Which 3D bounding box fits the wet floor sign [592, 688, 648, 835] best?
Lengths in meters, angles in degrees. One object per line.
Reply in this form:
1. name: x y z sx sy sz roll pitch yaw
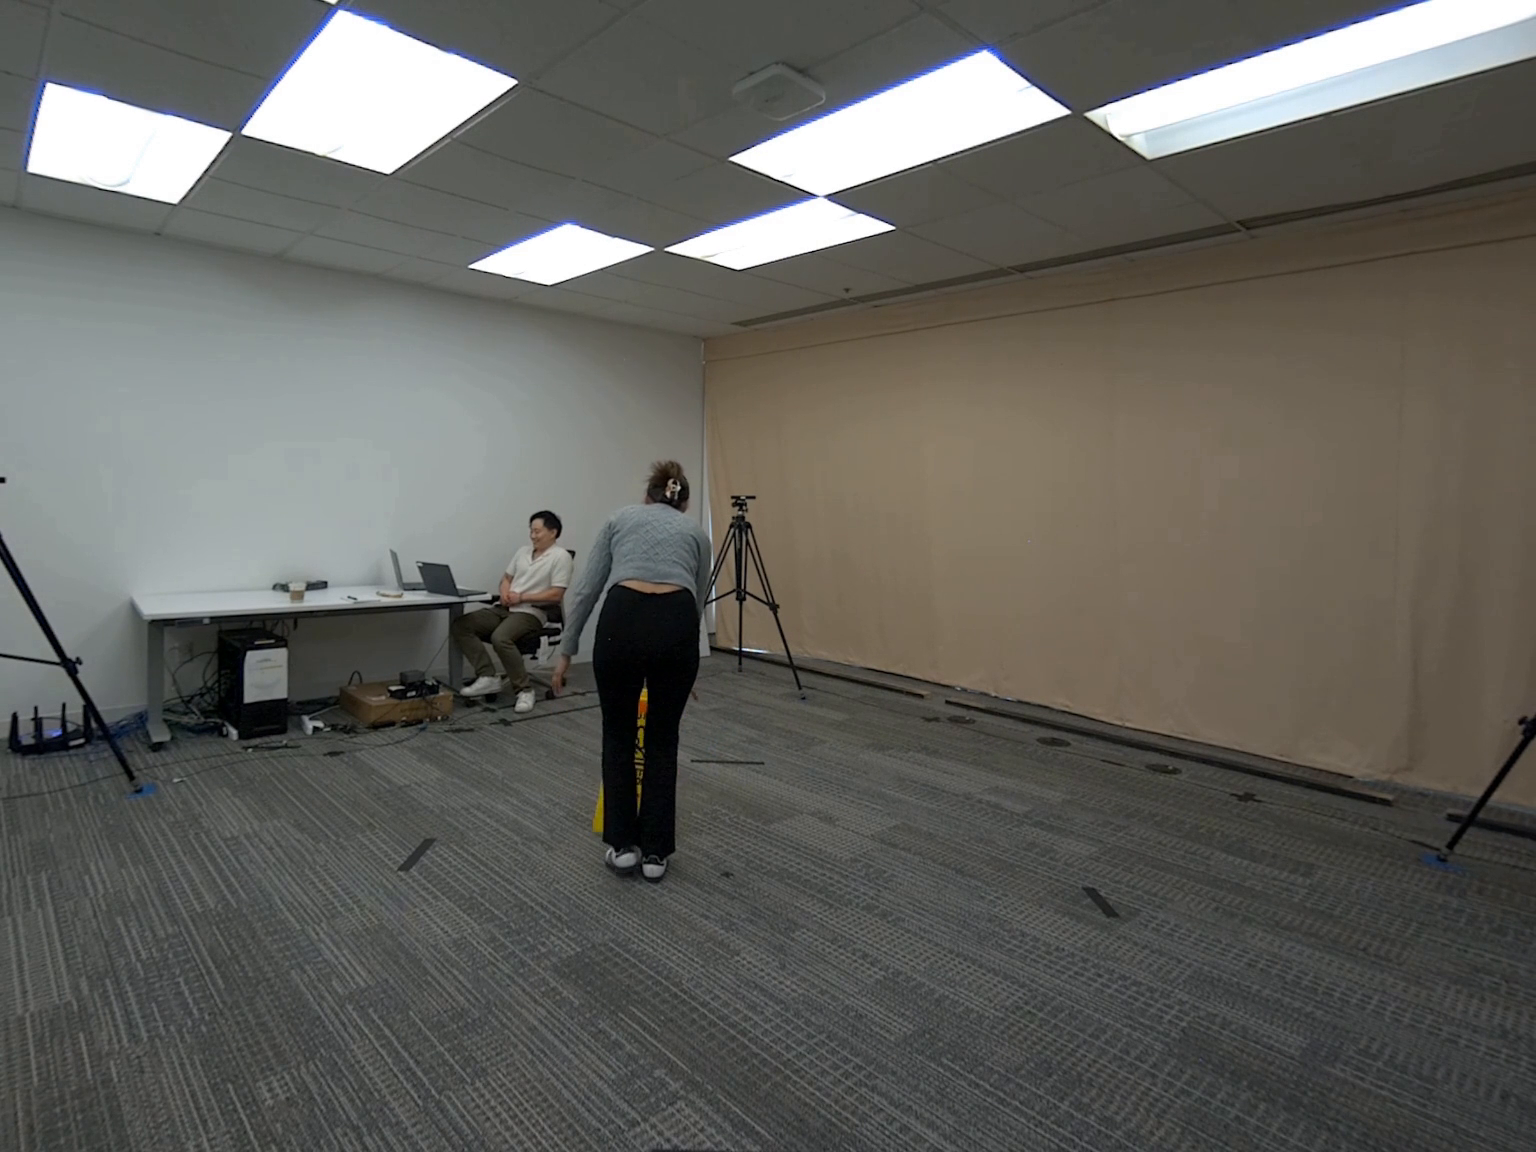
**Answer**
1. wet floor sign: -0.544 0.726 3.542 0.283 0.645 0.289 8 3 4
